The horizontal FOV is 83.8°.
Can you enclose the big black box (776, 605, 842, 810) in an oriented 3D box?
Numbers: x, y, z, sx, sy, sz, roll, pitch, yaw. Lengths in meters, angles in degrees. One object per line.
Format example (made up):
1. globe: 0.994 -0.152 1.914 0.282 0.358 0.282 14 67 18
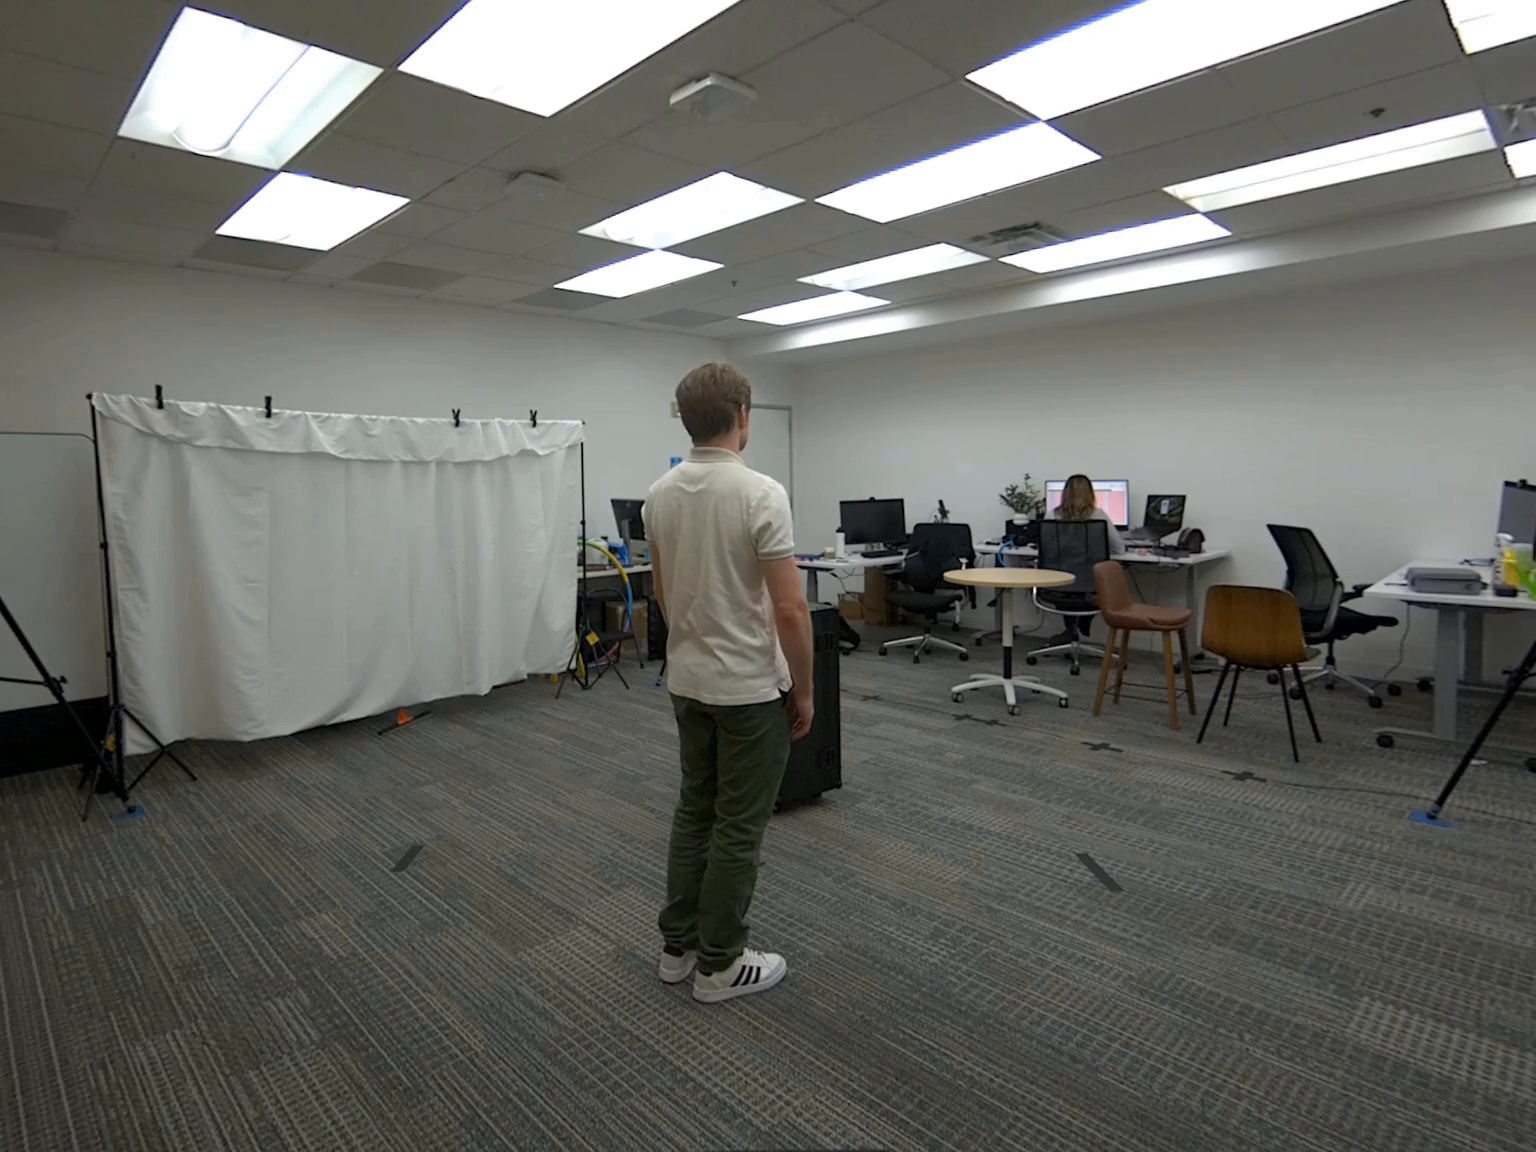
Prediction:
1. big black box: 0.033 0.552 3.750 0.376 0.865 0.538 -4 5 -34
